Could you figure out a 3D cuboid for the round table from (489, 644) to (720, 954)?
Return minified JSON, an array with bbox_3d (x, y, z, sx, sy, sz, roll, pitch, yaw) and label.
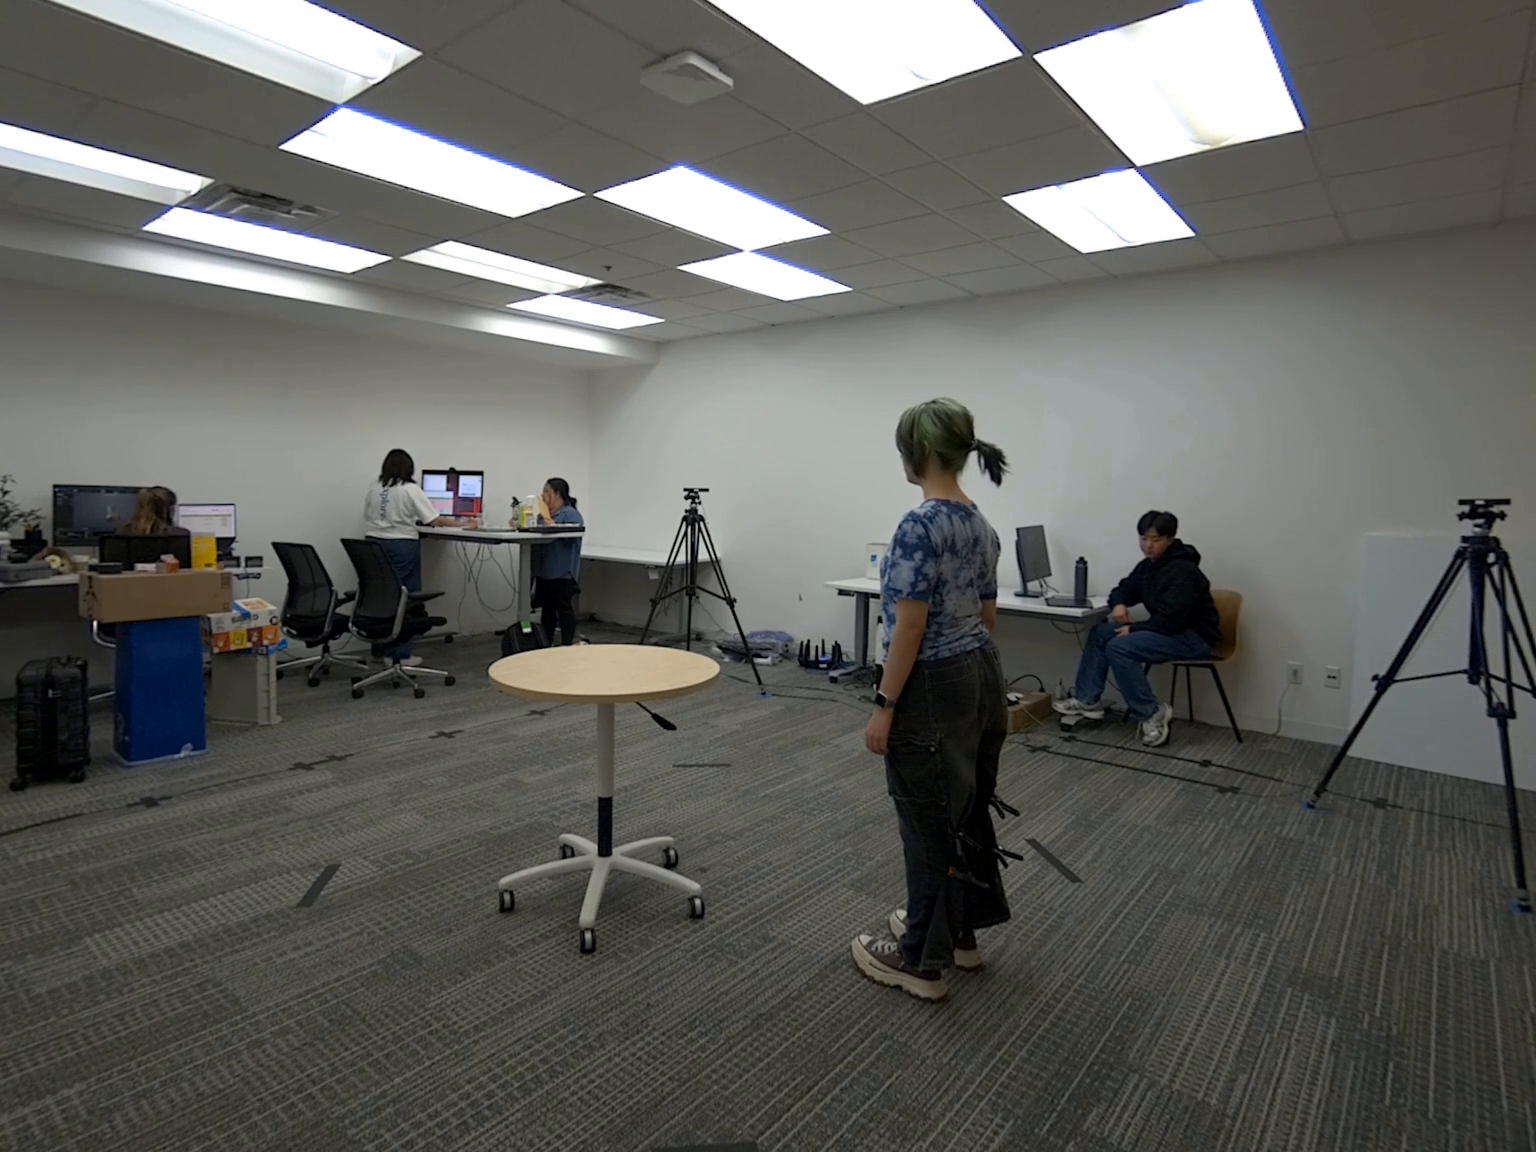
[{"bbox_3d":[-0.558,0.696,2.878,0.763,0.791,0.768,1,4,-2],"label":"round table"}]
